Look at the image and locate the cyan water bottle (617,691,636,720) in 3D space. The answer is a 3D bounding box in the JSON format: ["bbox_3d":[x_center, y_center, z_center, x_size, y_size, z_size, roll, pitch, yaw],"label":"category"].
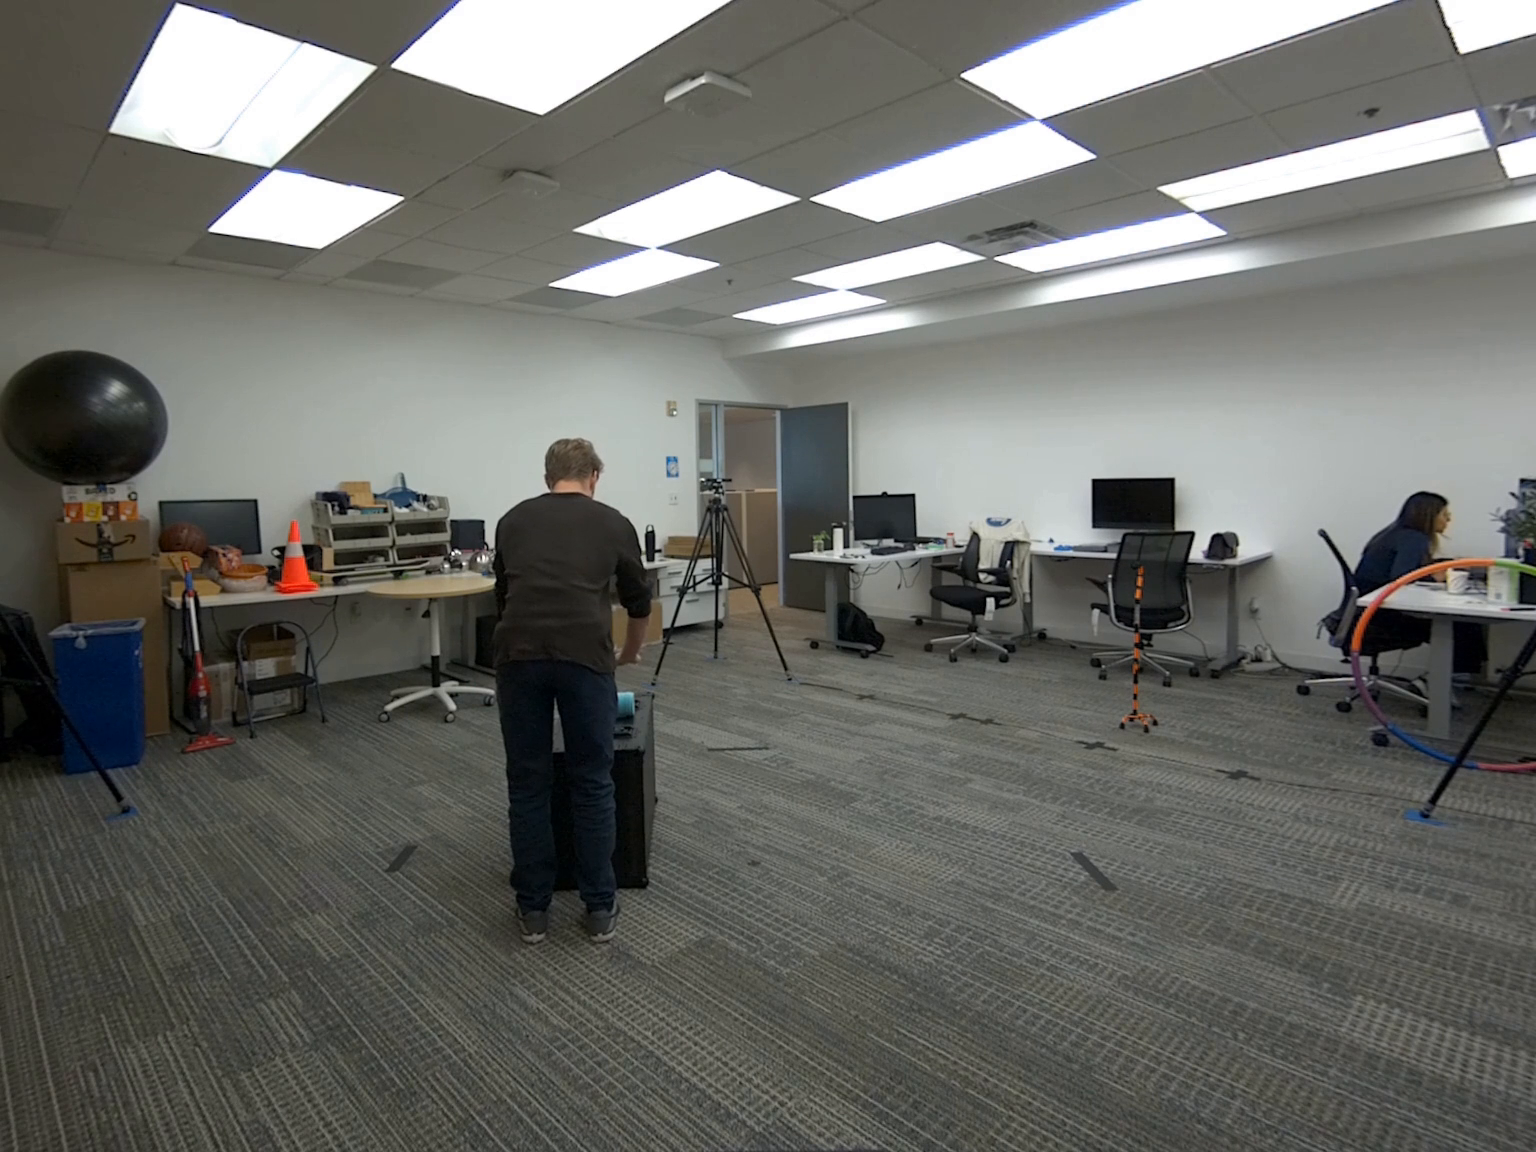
[{"bbox_3d":[-0.662,0.502,3.327,0.283,0.092,0.093,-1,5,-1],"label":"cyan water bottle"}]
